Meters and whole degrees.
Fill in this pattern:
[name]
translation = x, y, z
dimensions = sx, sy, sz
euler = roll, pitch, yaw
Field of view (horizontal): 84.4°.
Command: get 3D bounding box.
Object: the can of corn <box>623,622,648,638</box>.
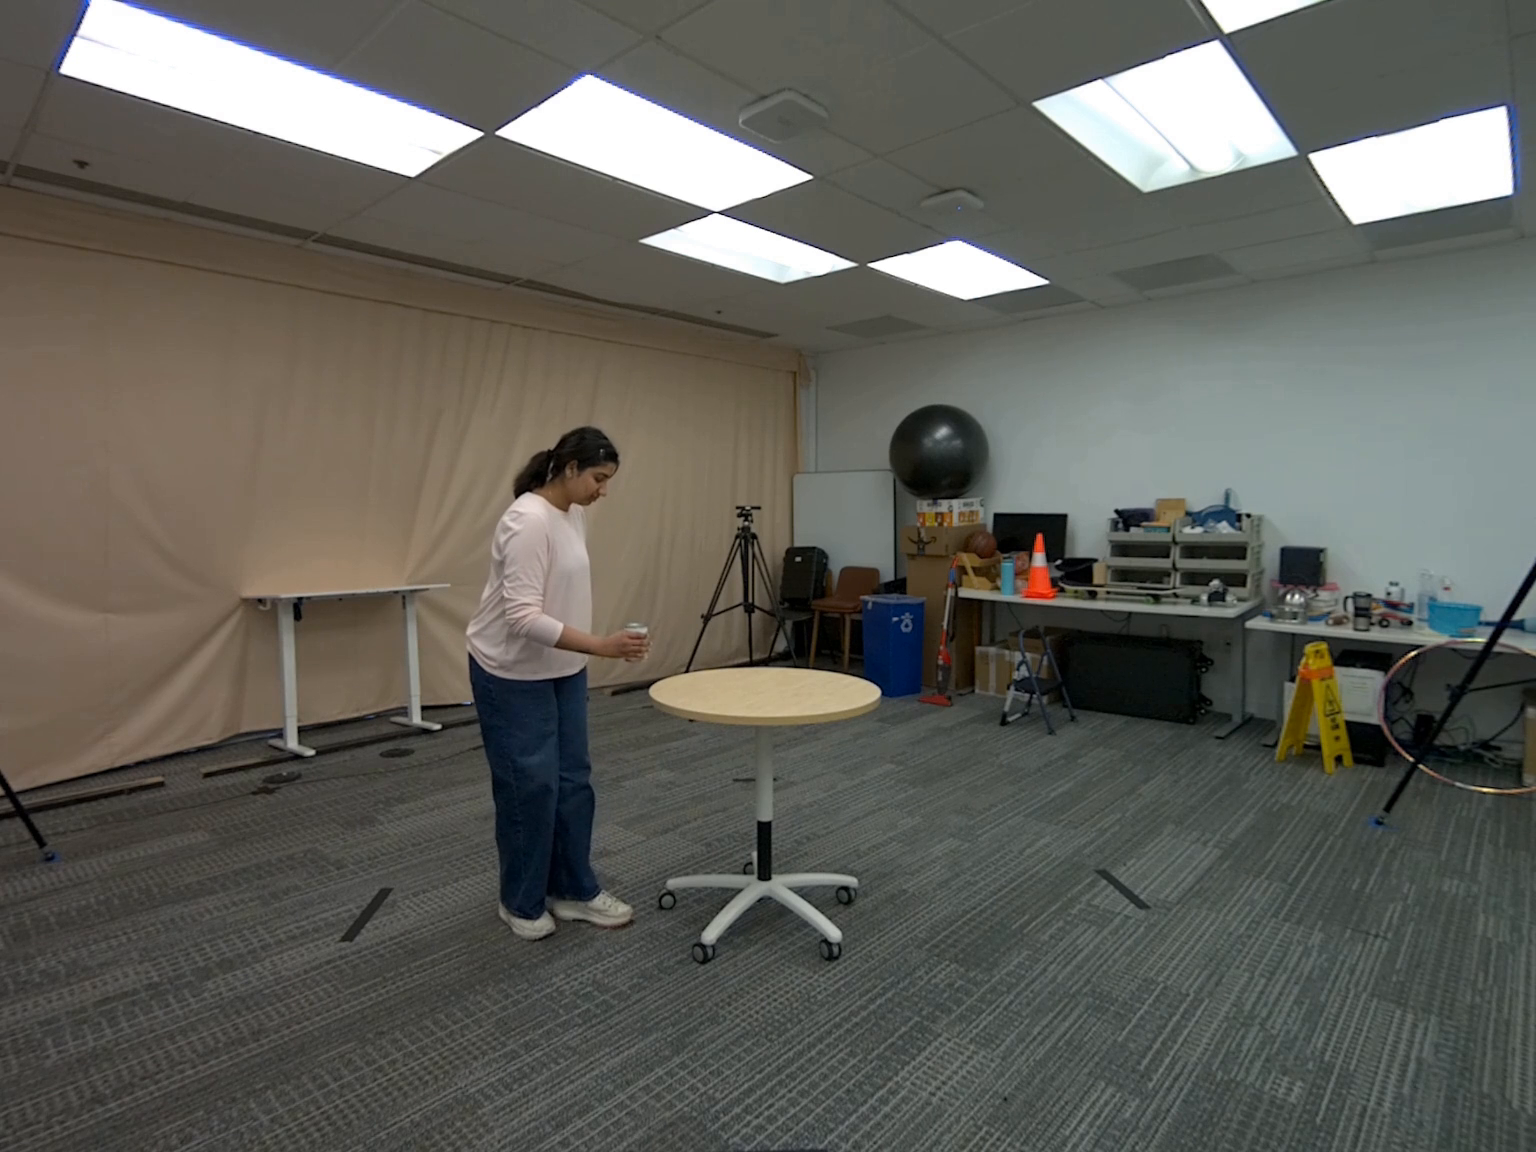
[can of corn]
translation = -0.412, 0.210, 2.636
dimensions = 0.074, 0.111, 0.074
euler = 1, 5, -2
